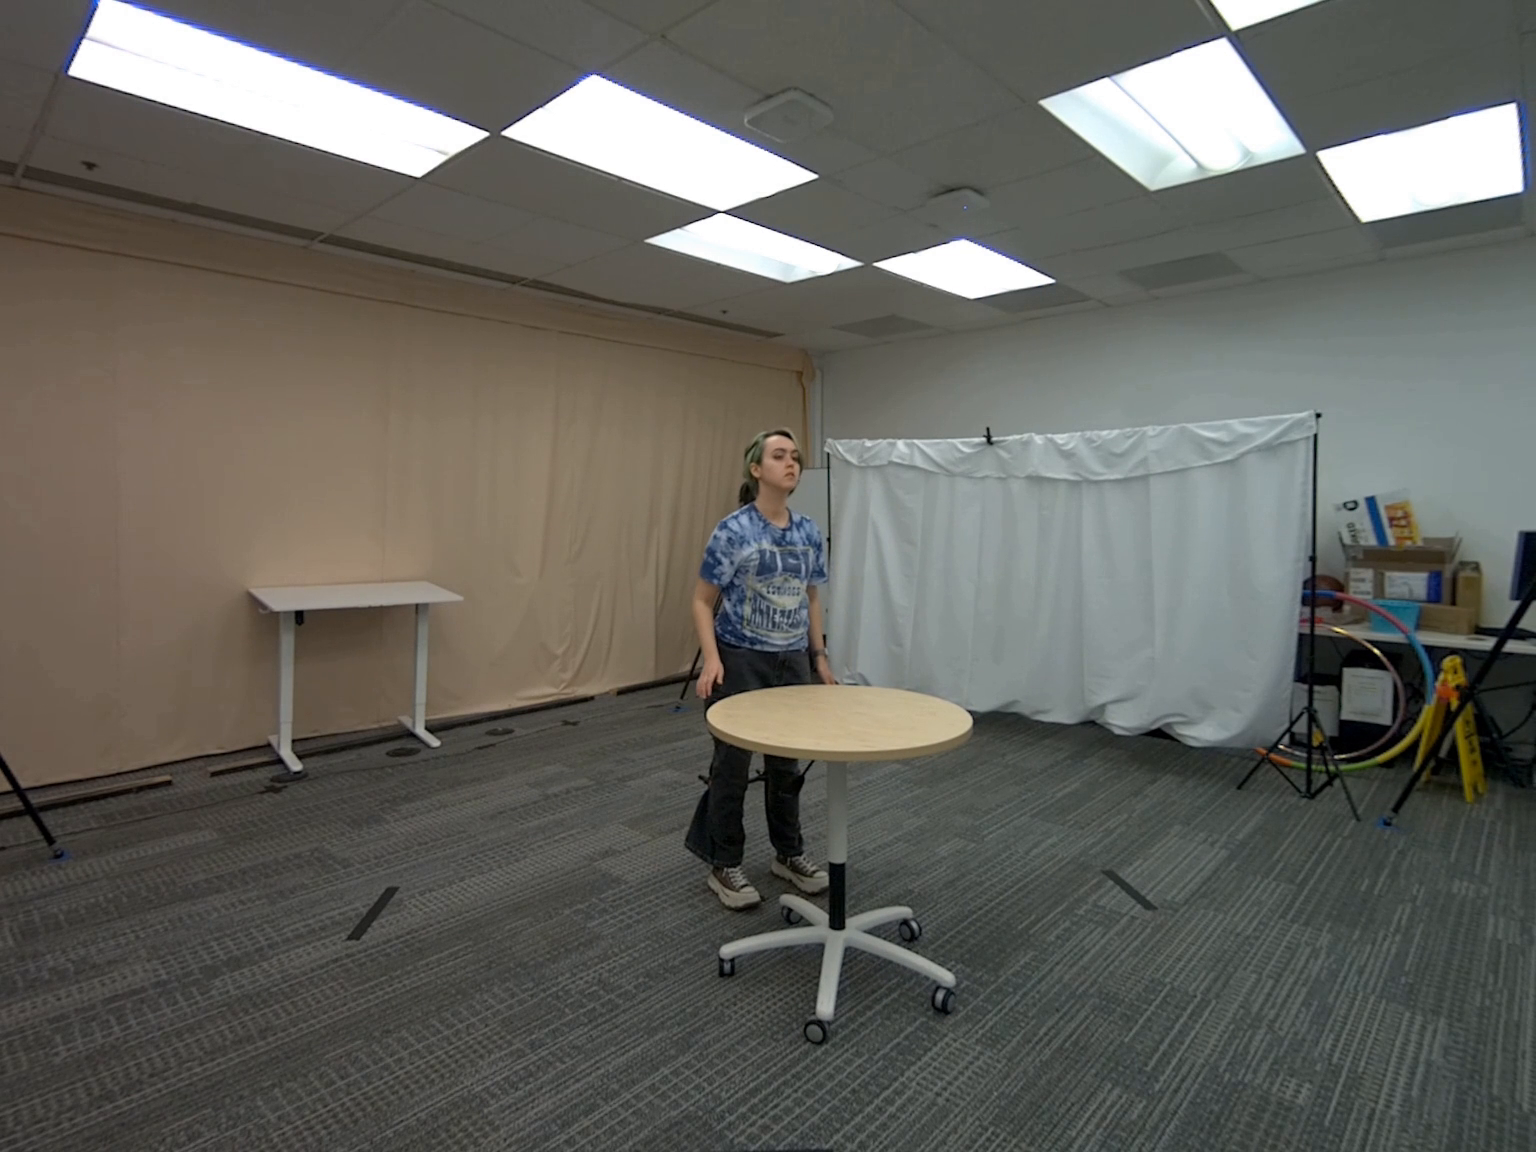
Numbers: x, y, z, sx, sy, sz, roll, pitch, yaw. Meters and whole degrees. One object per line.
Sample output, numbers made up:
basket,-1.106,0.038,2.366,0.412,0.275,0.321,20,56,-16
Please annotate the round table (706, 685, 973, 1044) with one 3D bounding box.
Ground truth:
round table,0.209,0.798,2.485,0.763,0.792,0.767,-1,4,-2
